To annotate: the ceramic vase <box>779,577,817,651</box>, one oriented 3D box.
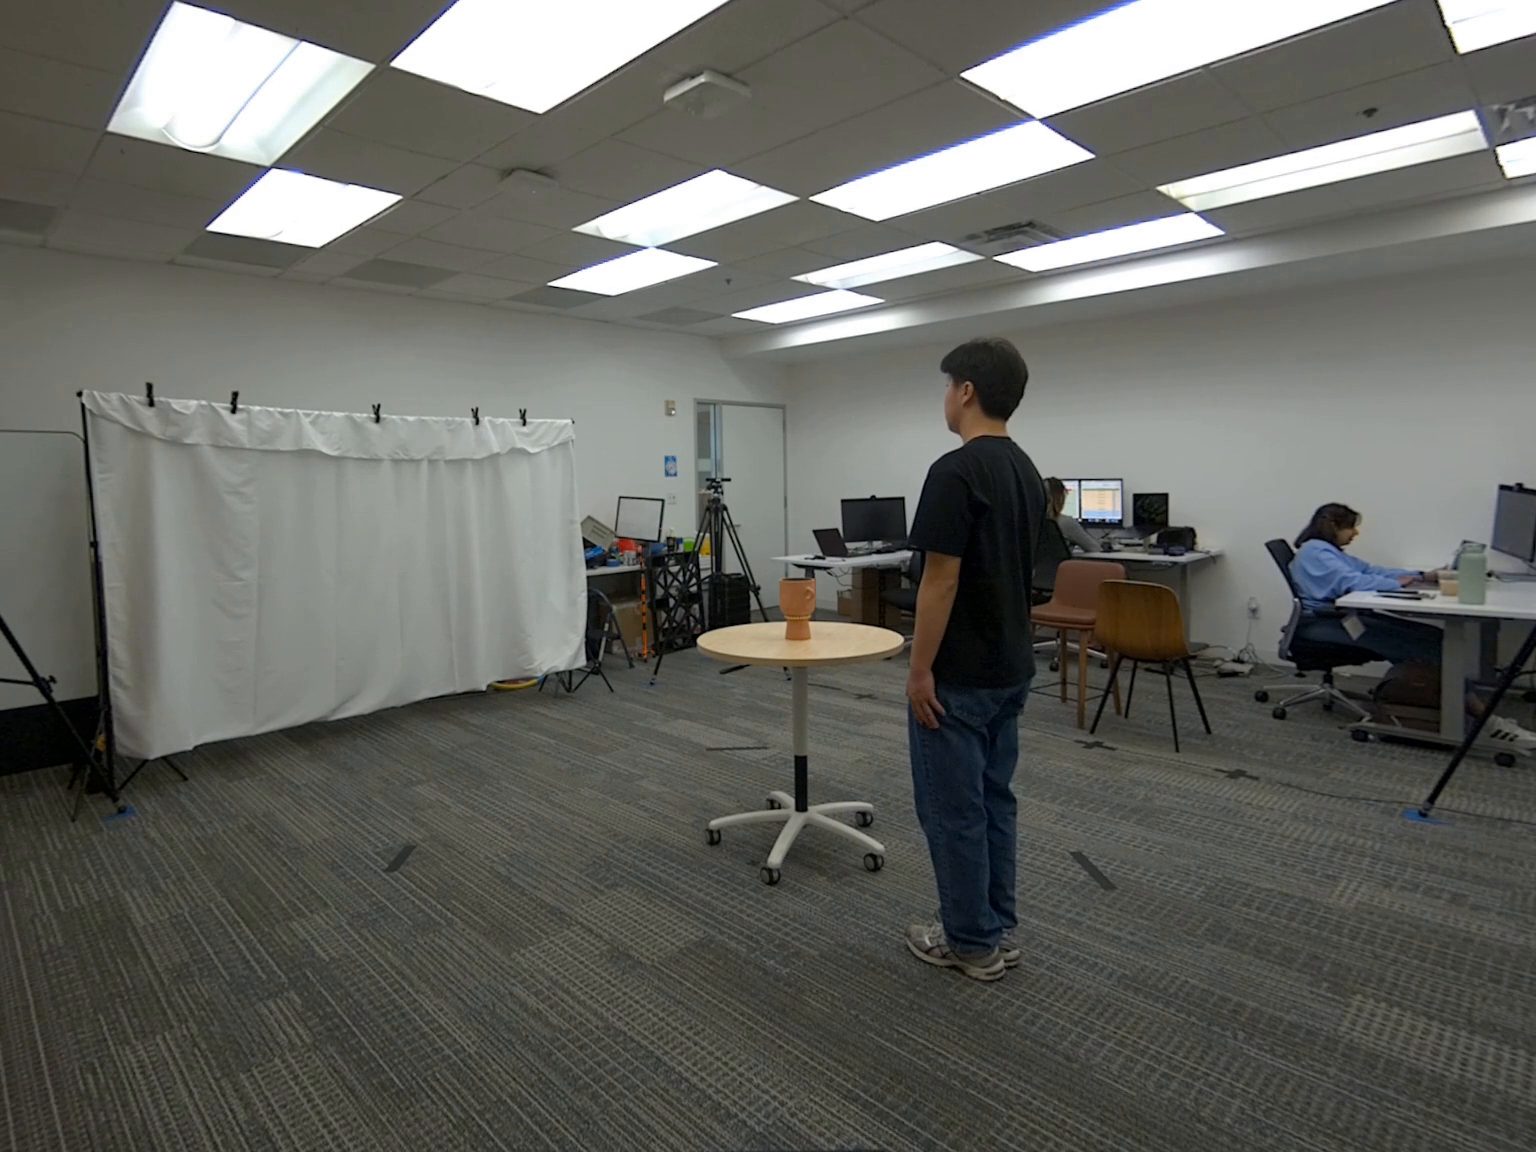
[{"bbox_3d":[0.113,0.124,3.192,0.135,0.219,0.158,-1,4,6],"label":"ceramic vase"}]
